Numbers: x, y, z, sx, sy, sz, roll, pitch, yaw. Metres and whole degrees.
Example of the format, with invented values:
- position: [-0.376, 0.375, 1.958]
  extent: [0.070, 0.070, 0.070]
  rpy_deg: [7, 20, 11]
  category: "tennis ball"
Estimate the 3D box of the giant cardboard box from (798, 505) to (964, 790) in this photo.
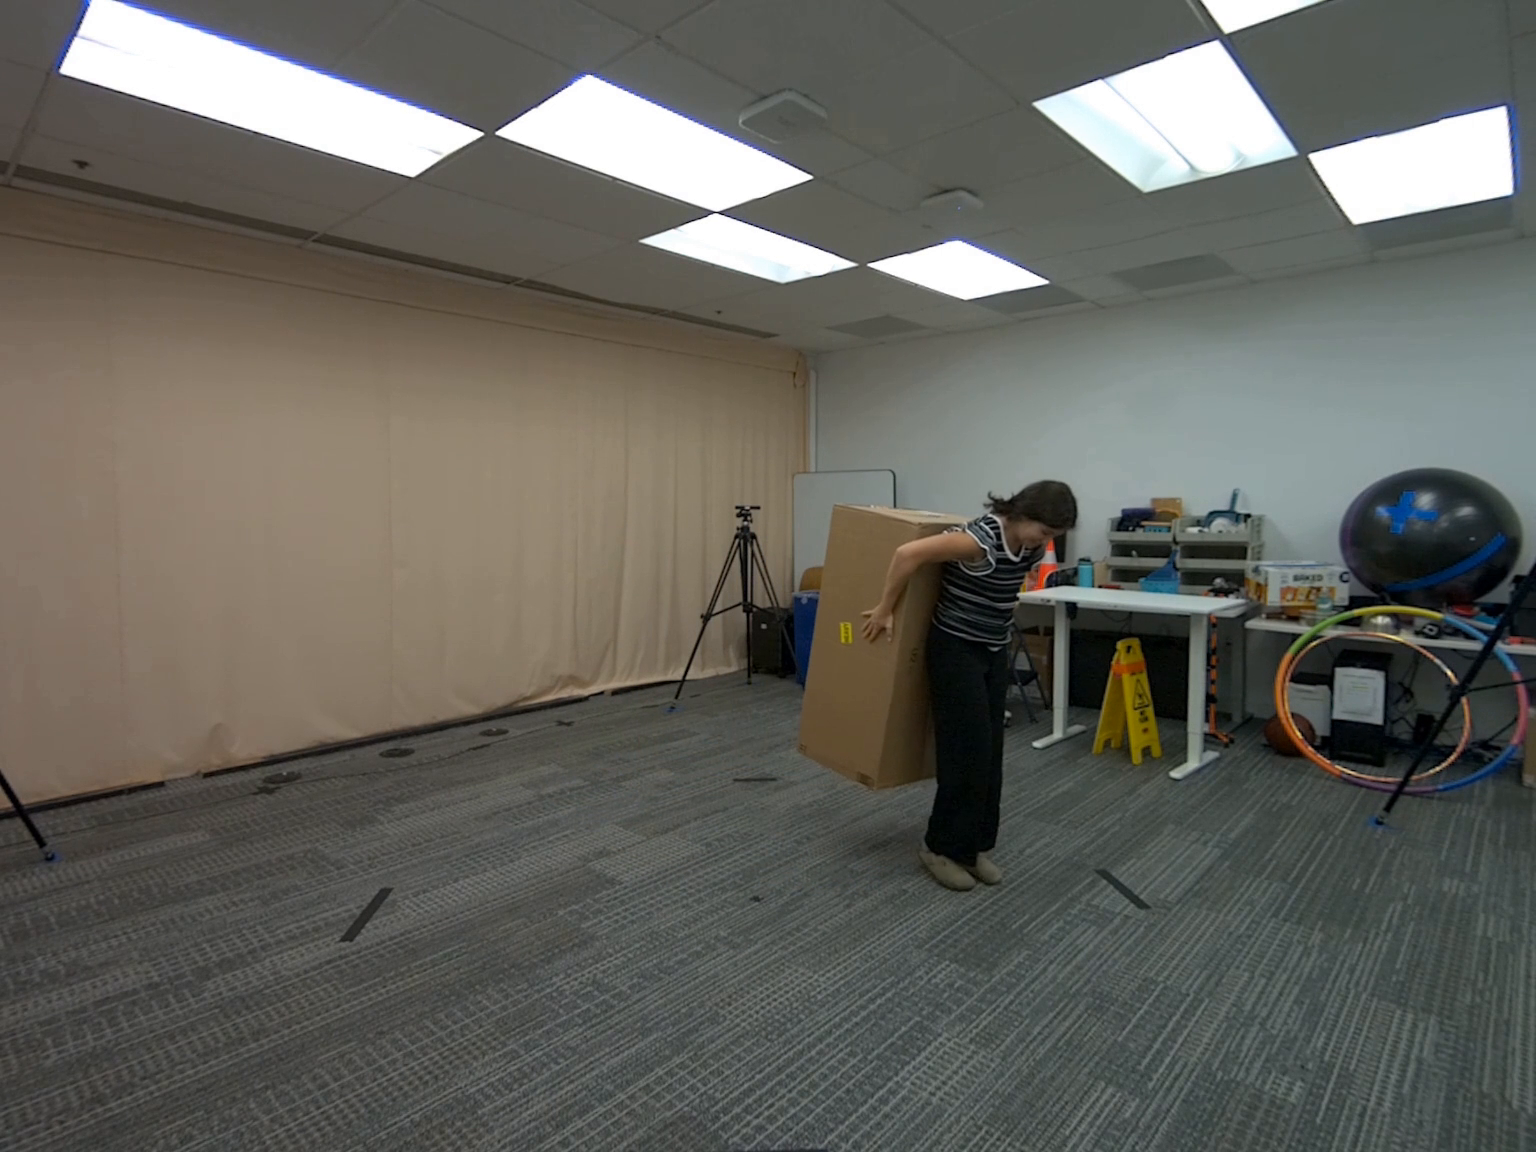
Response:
- position: [0.526, 0.261, 3.388]
  extent: [0.559, 1.021, 0.442]
  rpy_deg: [0, 11, -42]
  category: "giant cardboard box"
